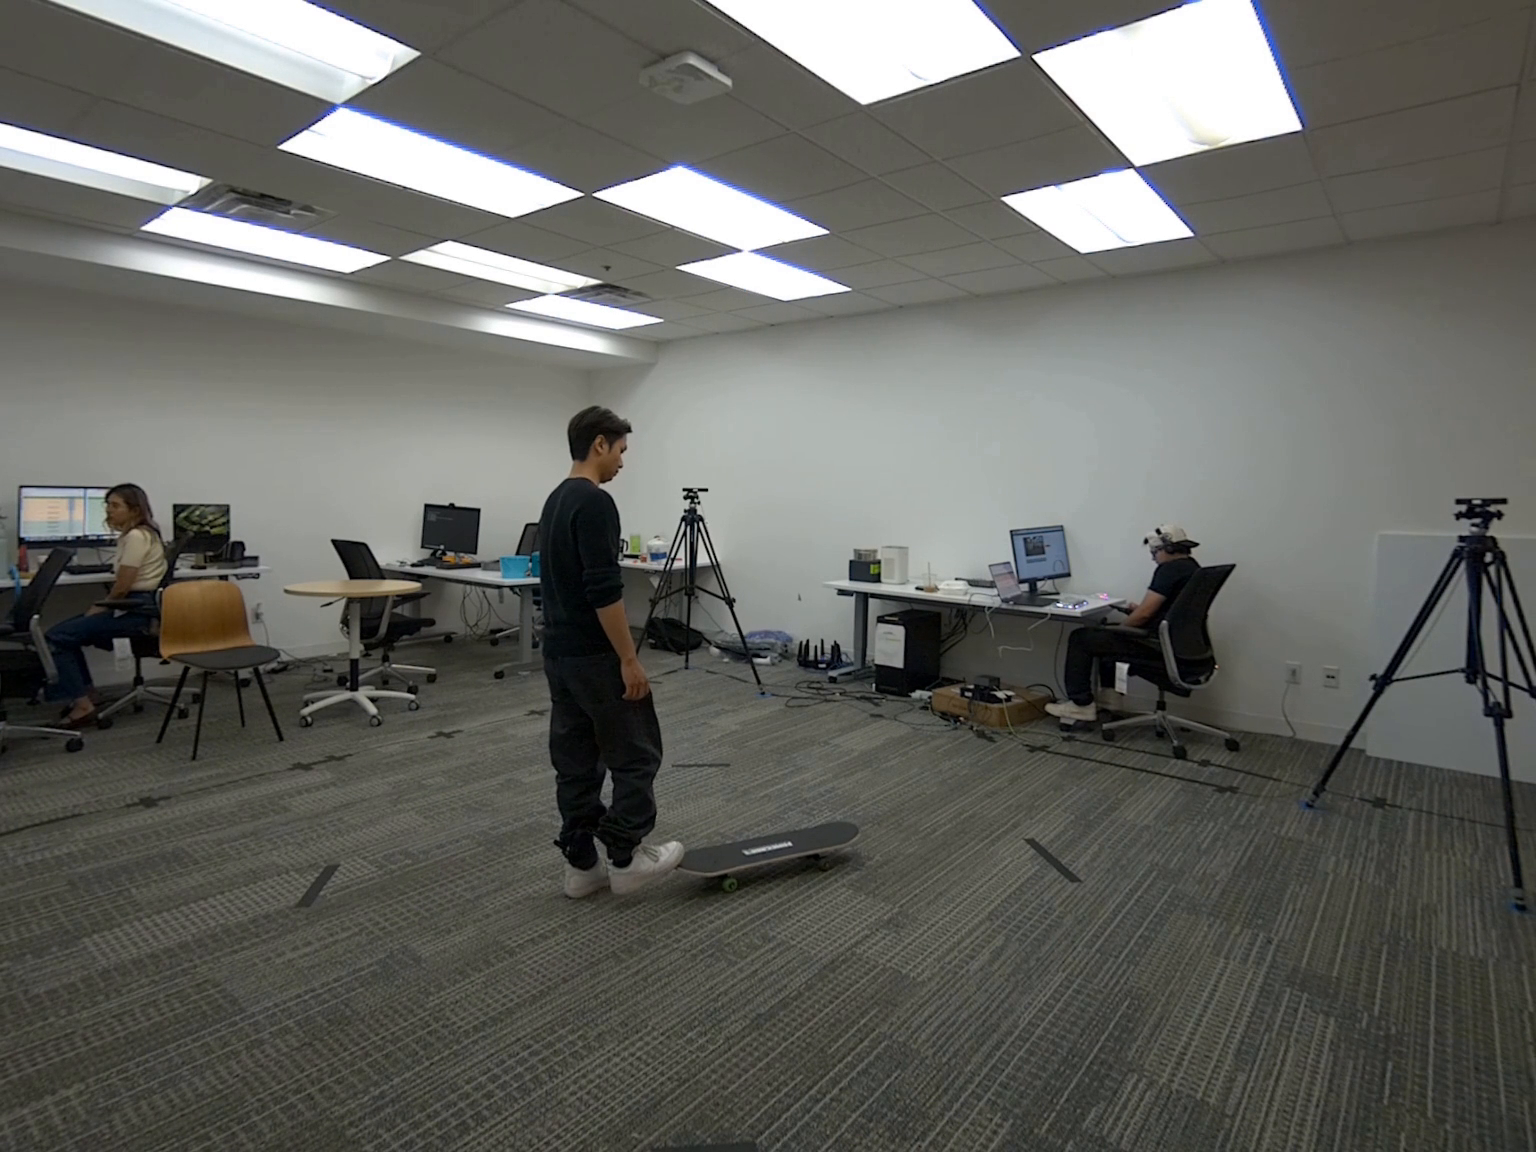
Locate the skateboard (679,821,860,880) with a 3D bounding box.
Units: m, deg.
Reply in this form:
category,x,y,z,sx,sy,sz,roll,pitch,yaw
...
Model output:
category,x,y,z,sx,sy,sz,roll,pitch,yaw
skateboard,-0.010,1.018,3.104,0.765,0.110,0.199,-2,7,-28
